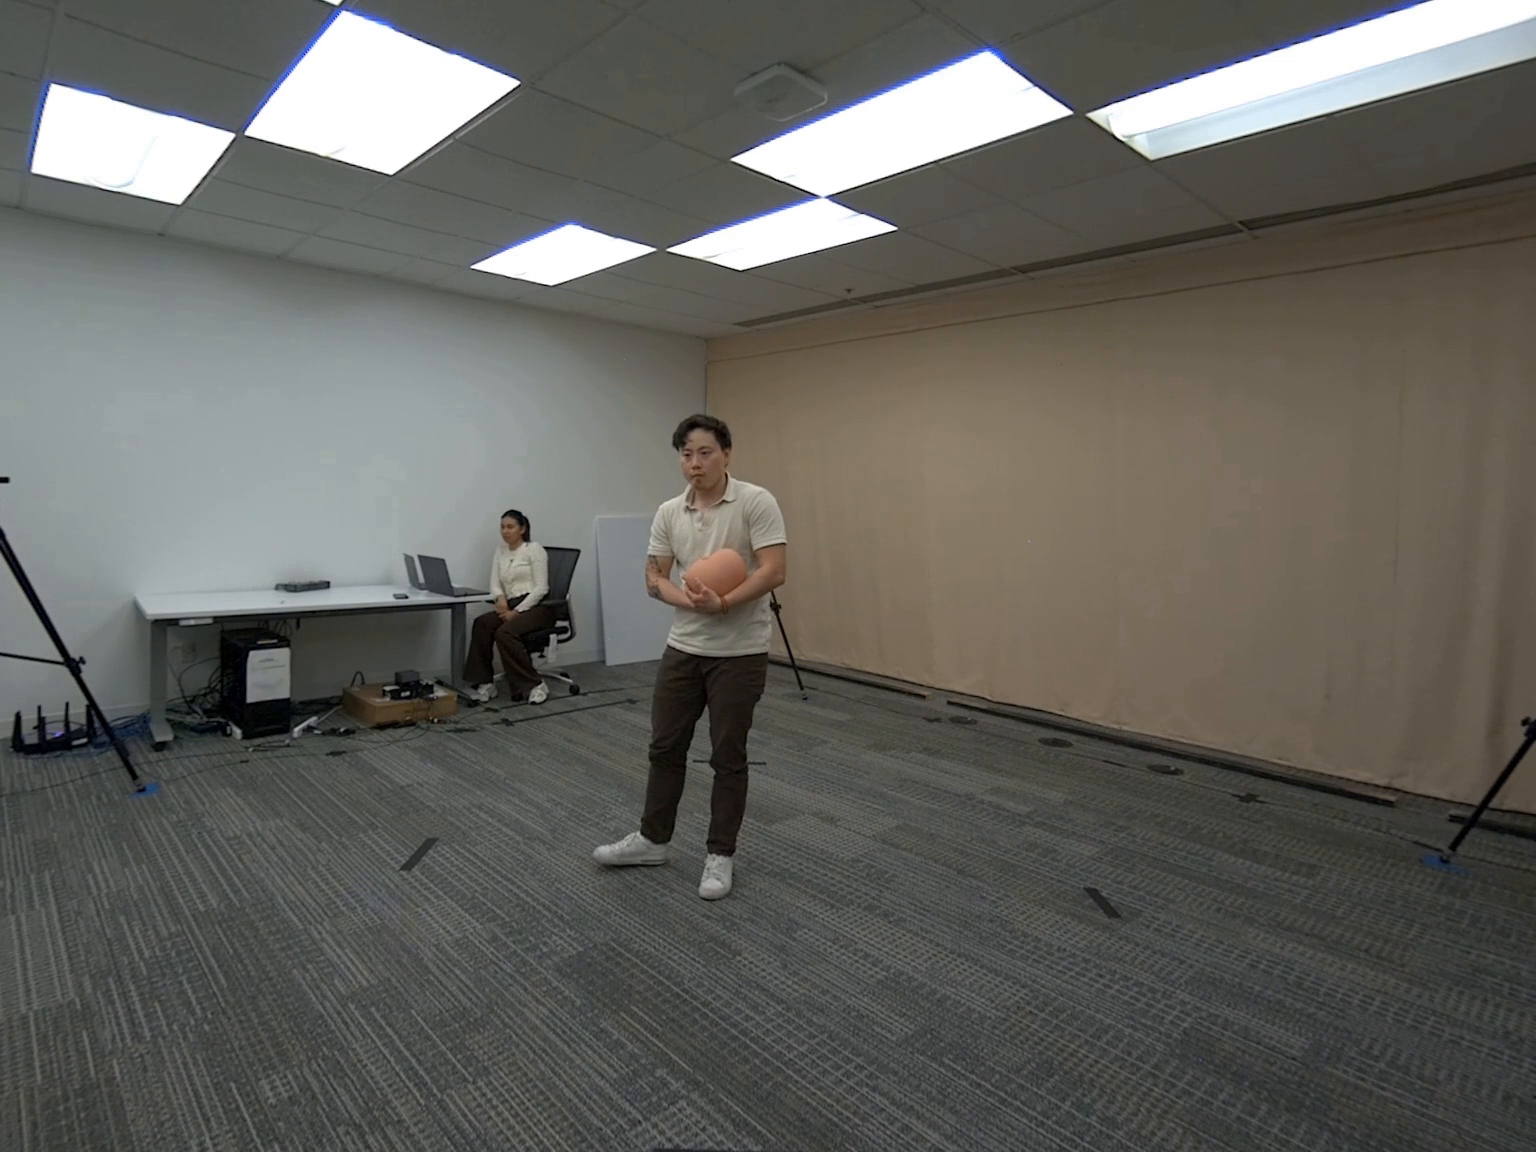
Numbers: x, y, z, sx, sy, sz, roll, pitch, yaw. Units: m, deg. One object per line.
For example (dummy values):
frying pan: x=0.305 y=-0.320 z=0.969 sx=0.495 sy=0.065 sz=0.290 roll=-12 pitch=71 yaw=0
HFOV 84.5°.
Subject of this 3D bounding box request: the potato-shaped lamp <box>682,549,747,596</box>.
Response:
potato-shaped lamp: x=-0.189 y=-0.005 z=2.851 sx=0.175 sy=0.198 sz=0.161 roll=43 pitch=-7 yaw=18
